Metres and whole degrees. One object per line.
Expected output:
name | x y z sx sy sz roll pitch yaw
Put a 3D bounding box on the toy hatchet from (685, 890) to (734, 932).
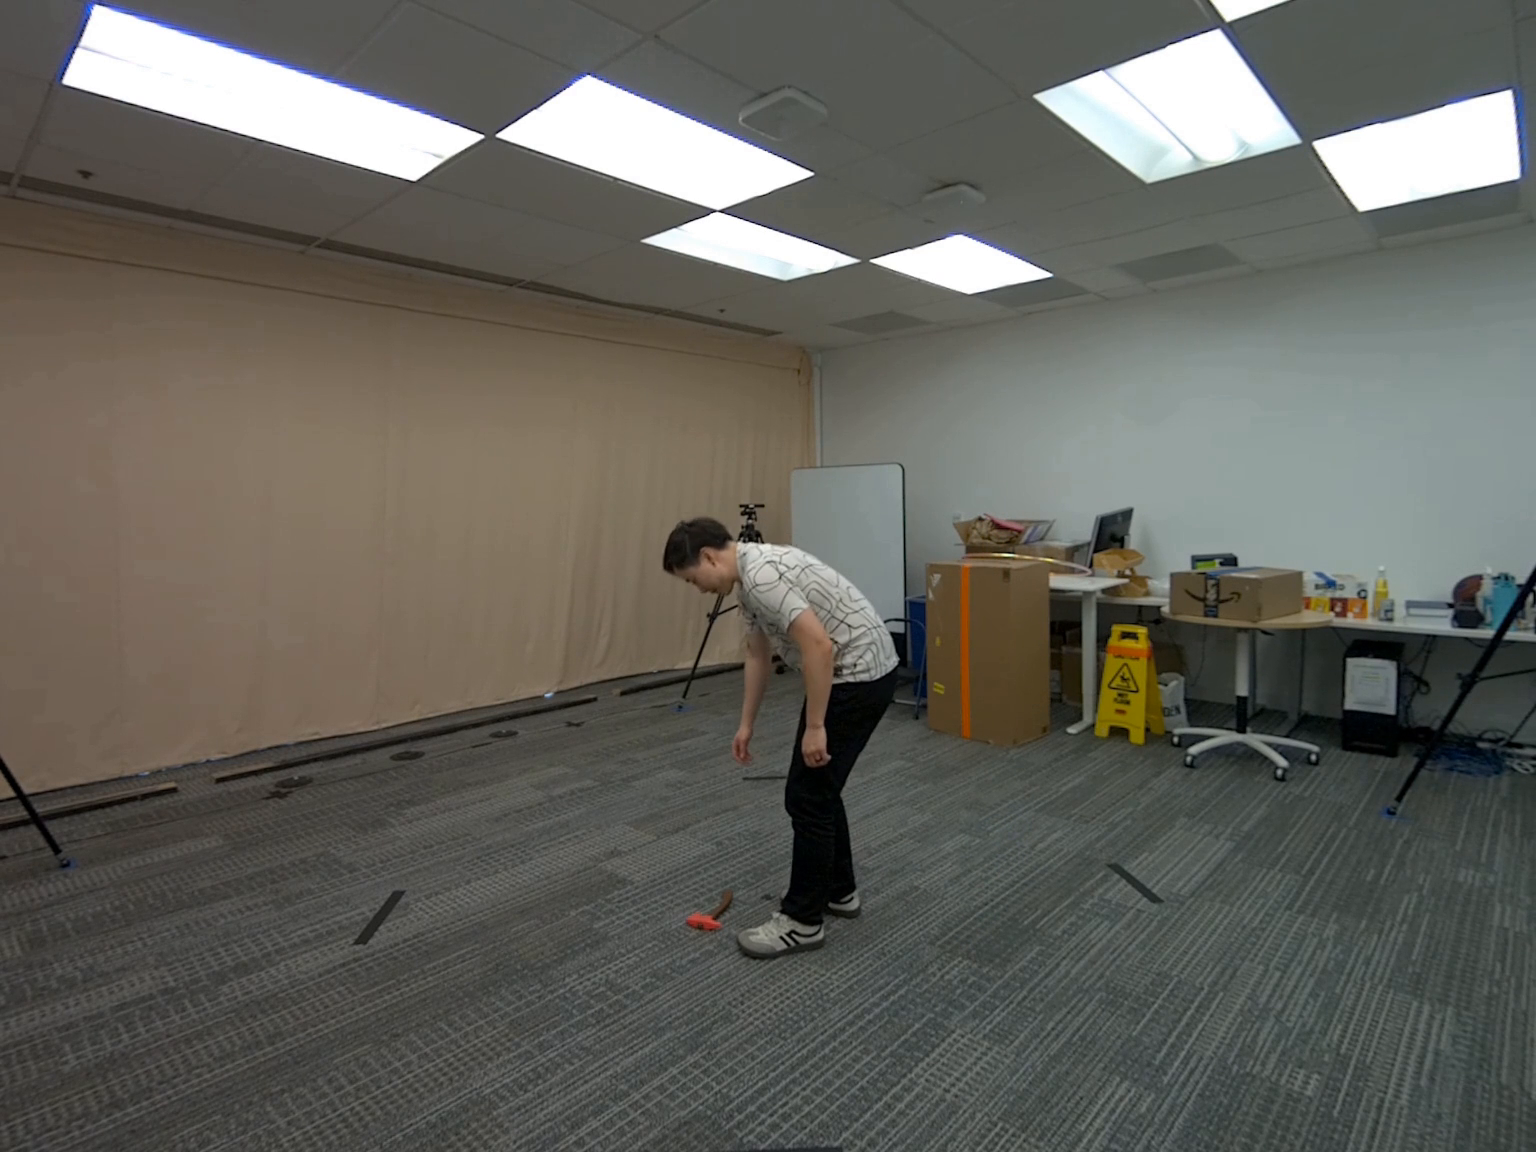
toy hatchet | -0.203 1.148 2.881 0.132 0.029 0.268 -7 1 7
